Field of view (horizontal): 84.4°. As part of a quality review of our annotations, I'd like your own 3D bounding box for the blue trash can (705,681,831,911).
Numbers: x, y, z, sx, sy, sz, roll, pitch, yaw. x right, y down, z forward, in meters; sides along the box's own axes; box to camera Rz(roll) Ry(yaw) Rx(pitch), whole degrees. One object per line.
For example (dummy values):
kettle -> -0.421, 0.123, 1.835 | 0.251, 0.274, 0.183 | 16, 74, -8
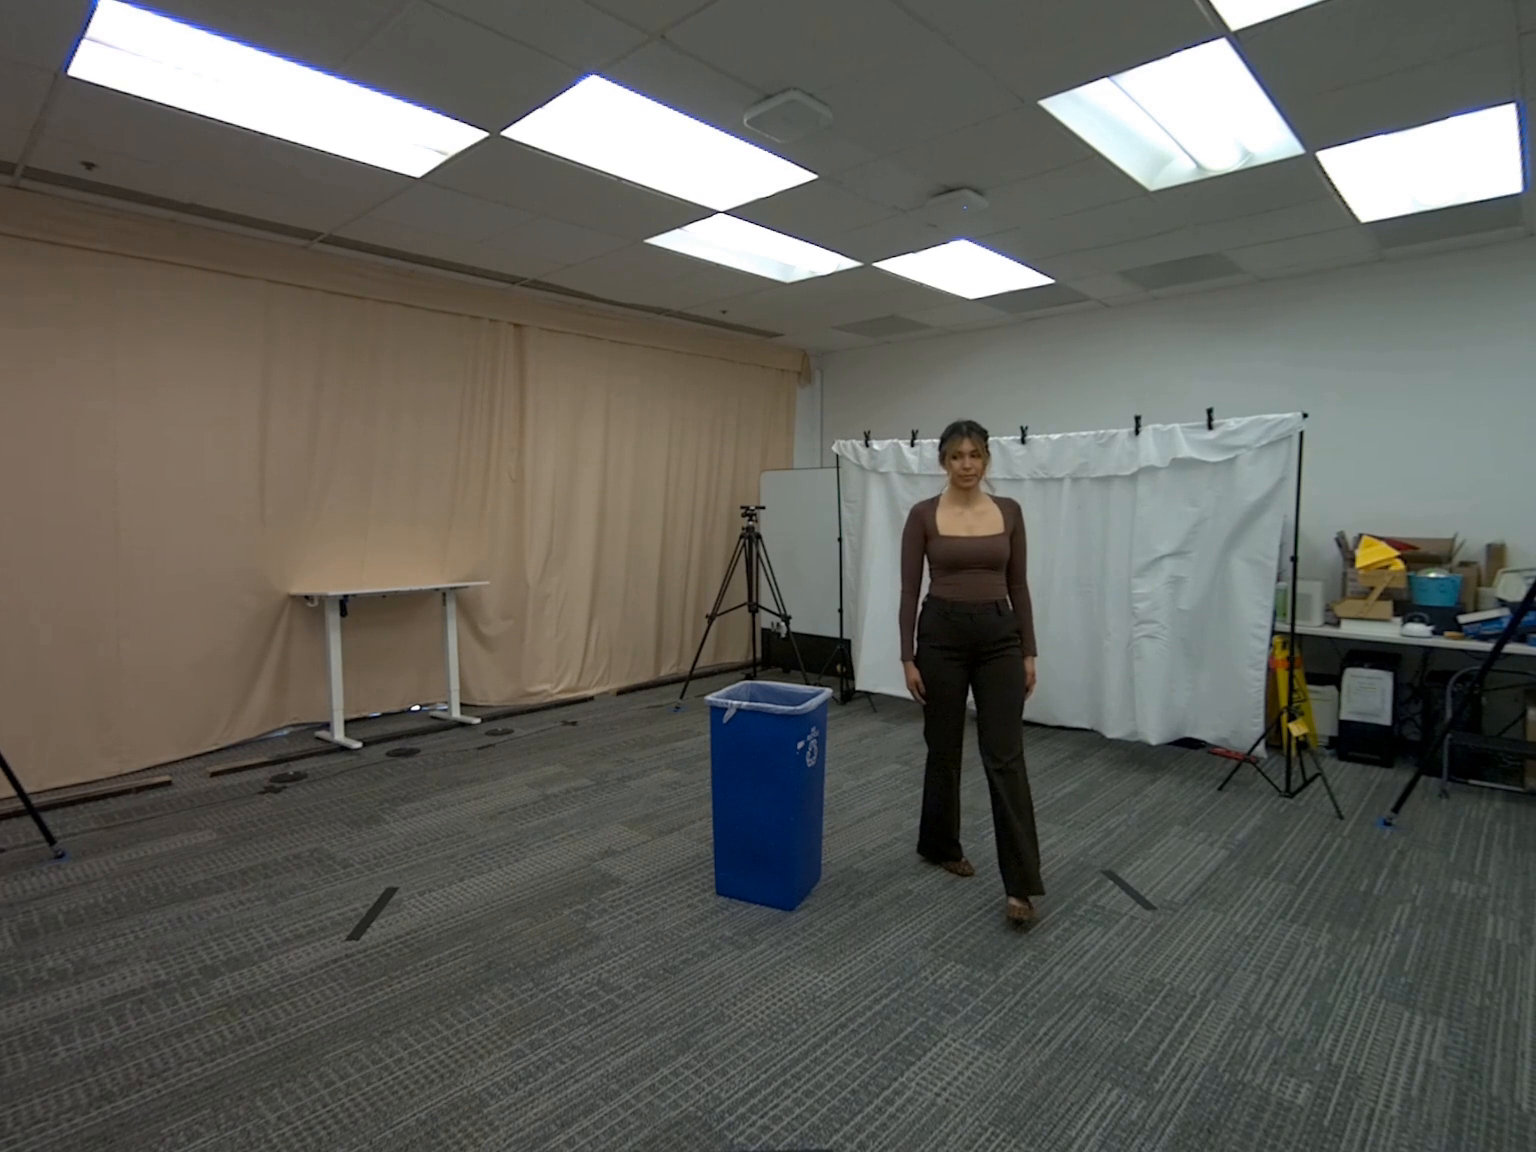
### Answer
blue trash can -> 0.005, 0.780, 3.064 | 0.384, 0.712, 0.369 | 3, 4, 24
